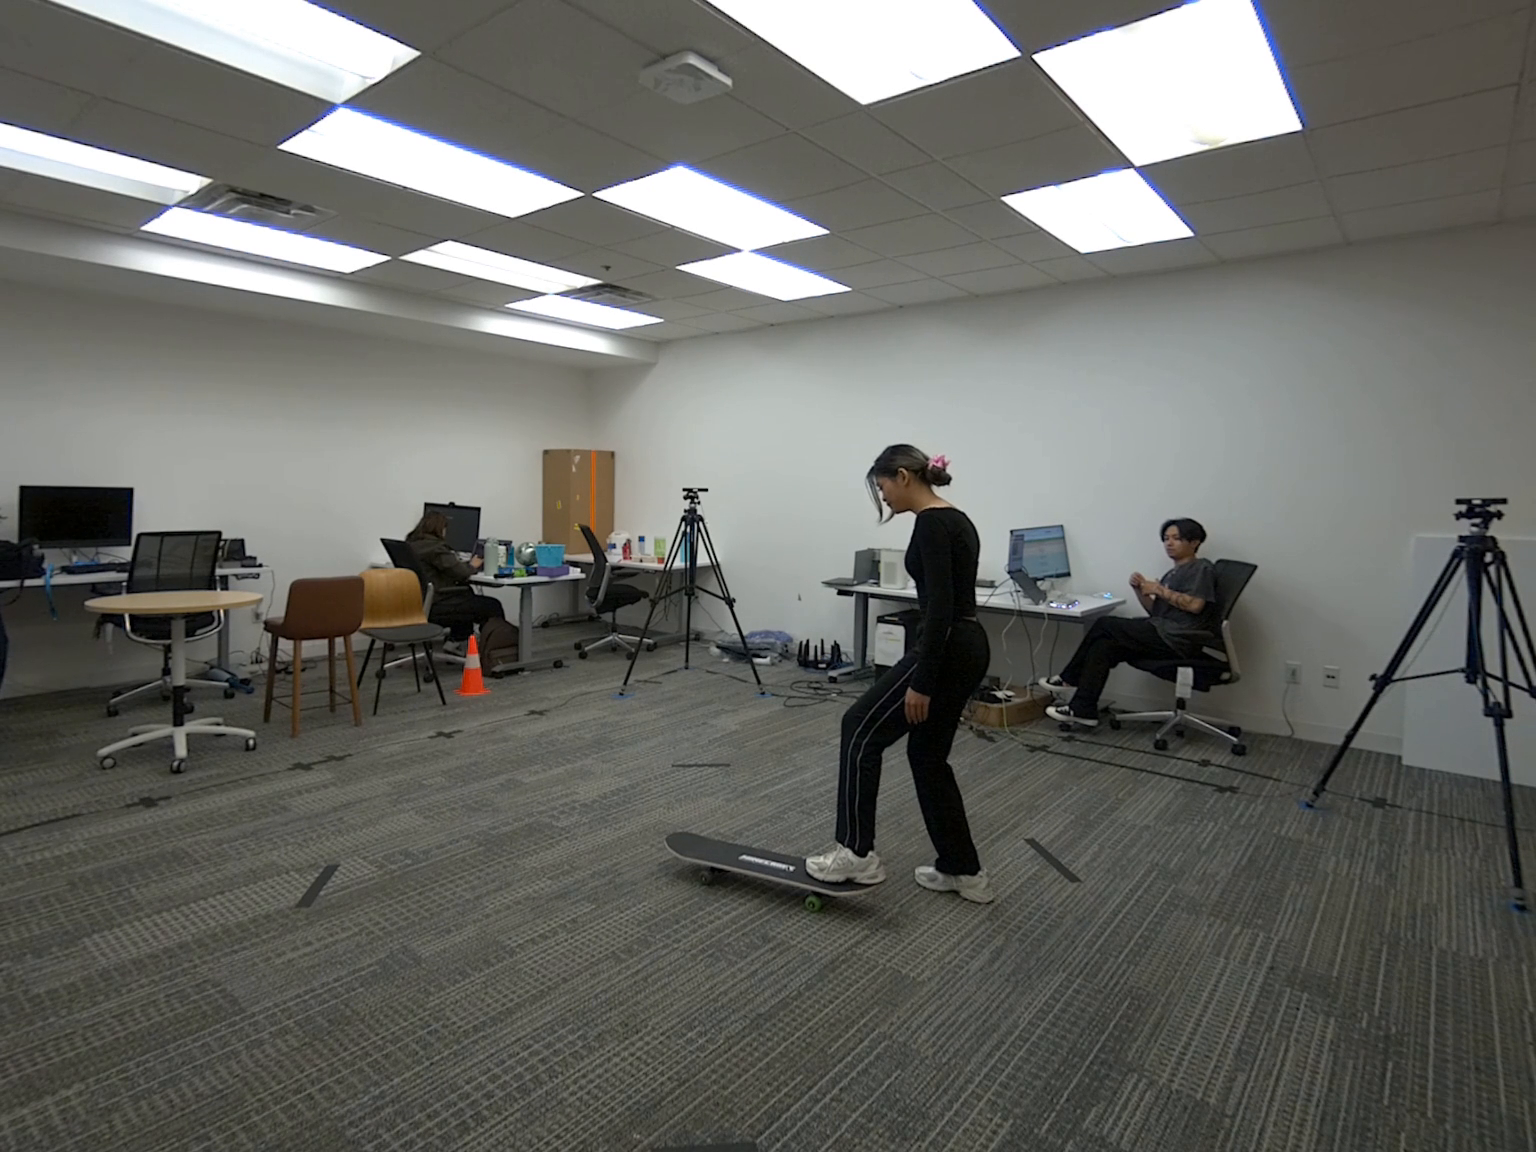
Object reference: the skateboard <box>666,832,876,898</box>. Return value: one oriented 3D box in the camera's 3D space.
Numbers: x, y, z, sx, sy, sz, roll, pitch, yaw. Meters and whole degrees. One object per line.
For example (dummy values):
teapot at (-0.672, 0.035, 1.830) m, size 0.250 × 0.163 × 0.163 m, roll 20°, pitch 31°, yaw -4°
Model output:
skateboard at (-0.016, 1.033, 2.970) m, size 0.805 × 0.110 × 0.189 m, roll 4°, pitch 6°, yaw 23°
